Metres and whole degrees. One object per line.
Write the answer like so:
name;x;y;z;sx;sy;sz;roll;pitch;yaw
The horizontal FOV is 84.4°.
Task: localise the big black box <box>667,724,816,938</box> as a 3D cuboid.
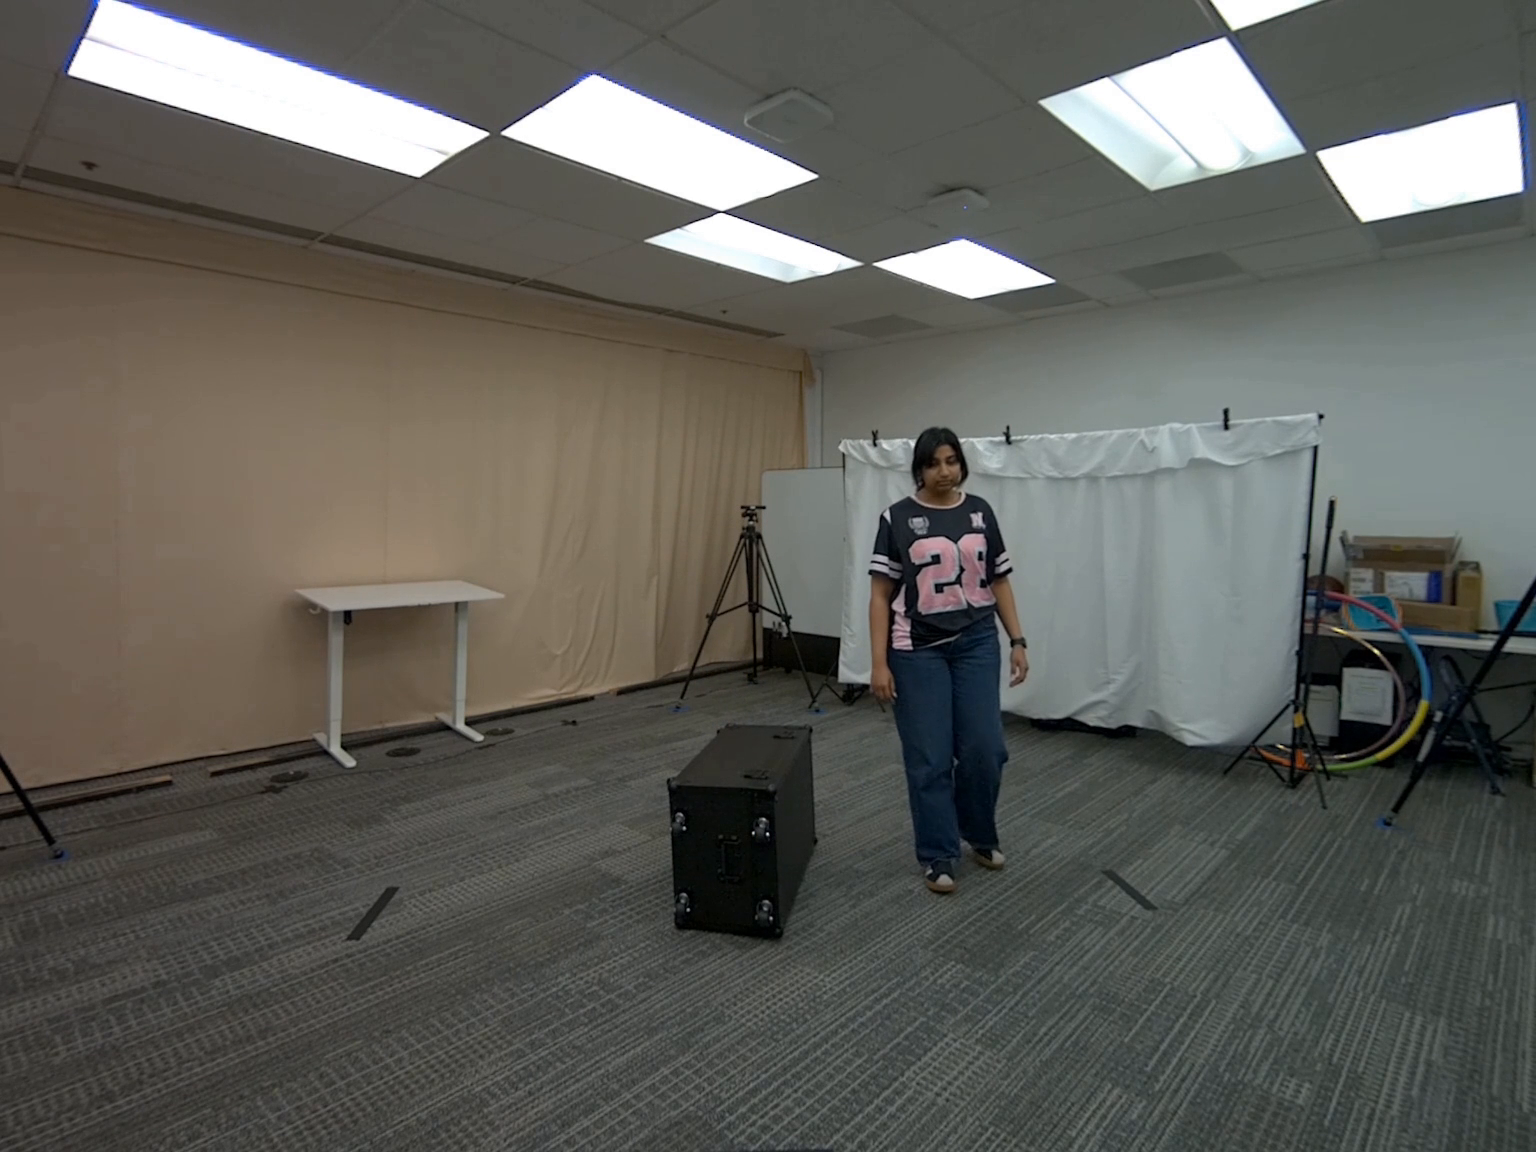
big black box;-0.074;0.882;3.056;0.391;0.522;0.858;0;4;12
